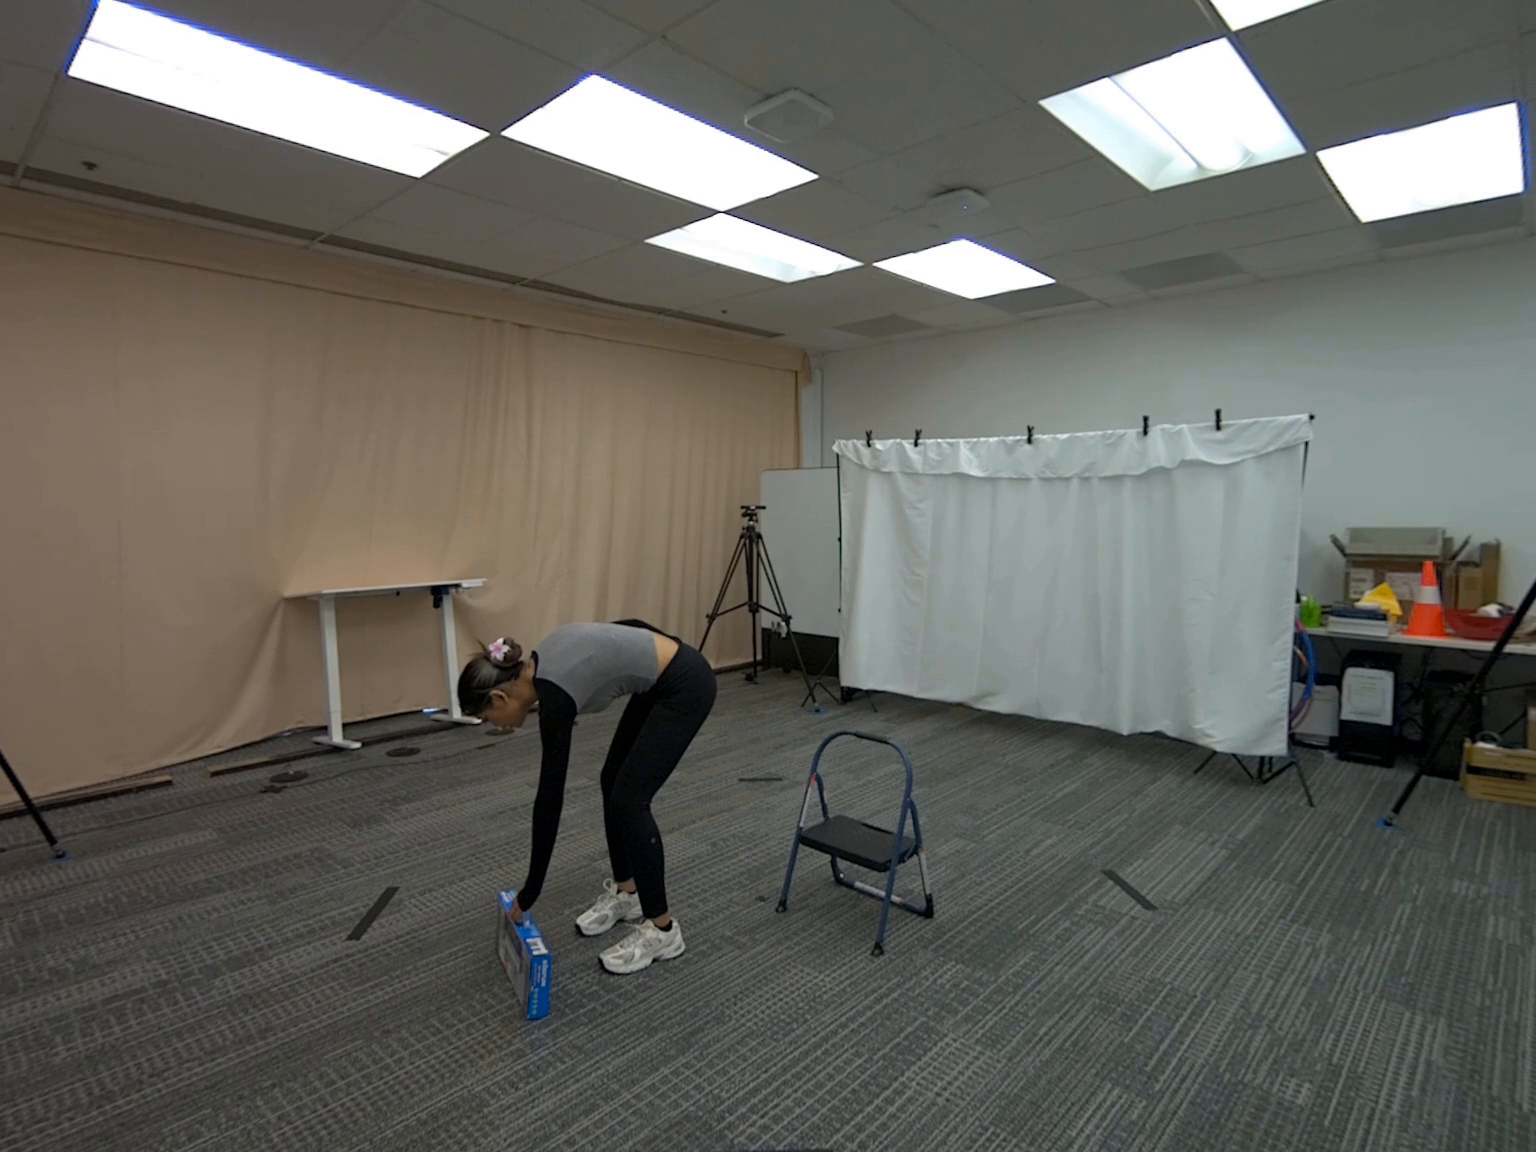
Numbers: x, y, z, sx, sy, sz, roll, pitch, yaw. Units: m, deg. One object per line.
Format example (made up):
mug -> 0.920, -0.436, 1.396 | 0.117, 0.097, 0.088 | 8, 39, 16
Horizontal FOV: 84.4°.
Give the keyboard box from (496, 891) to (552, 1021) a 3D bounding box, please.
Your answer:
keyboard box -> -0.724, 1.104, 2.479 | 0.057, 0.176, 0.449 | 4, 2, -29
